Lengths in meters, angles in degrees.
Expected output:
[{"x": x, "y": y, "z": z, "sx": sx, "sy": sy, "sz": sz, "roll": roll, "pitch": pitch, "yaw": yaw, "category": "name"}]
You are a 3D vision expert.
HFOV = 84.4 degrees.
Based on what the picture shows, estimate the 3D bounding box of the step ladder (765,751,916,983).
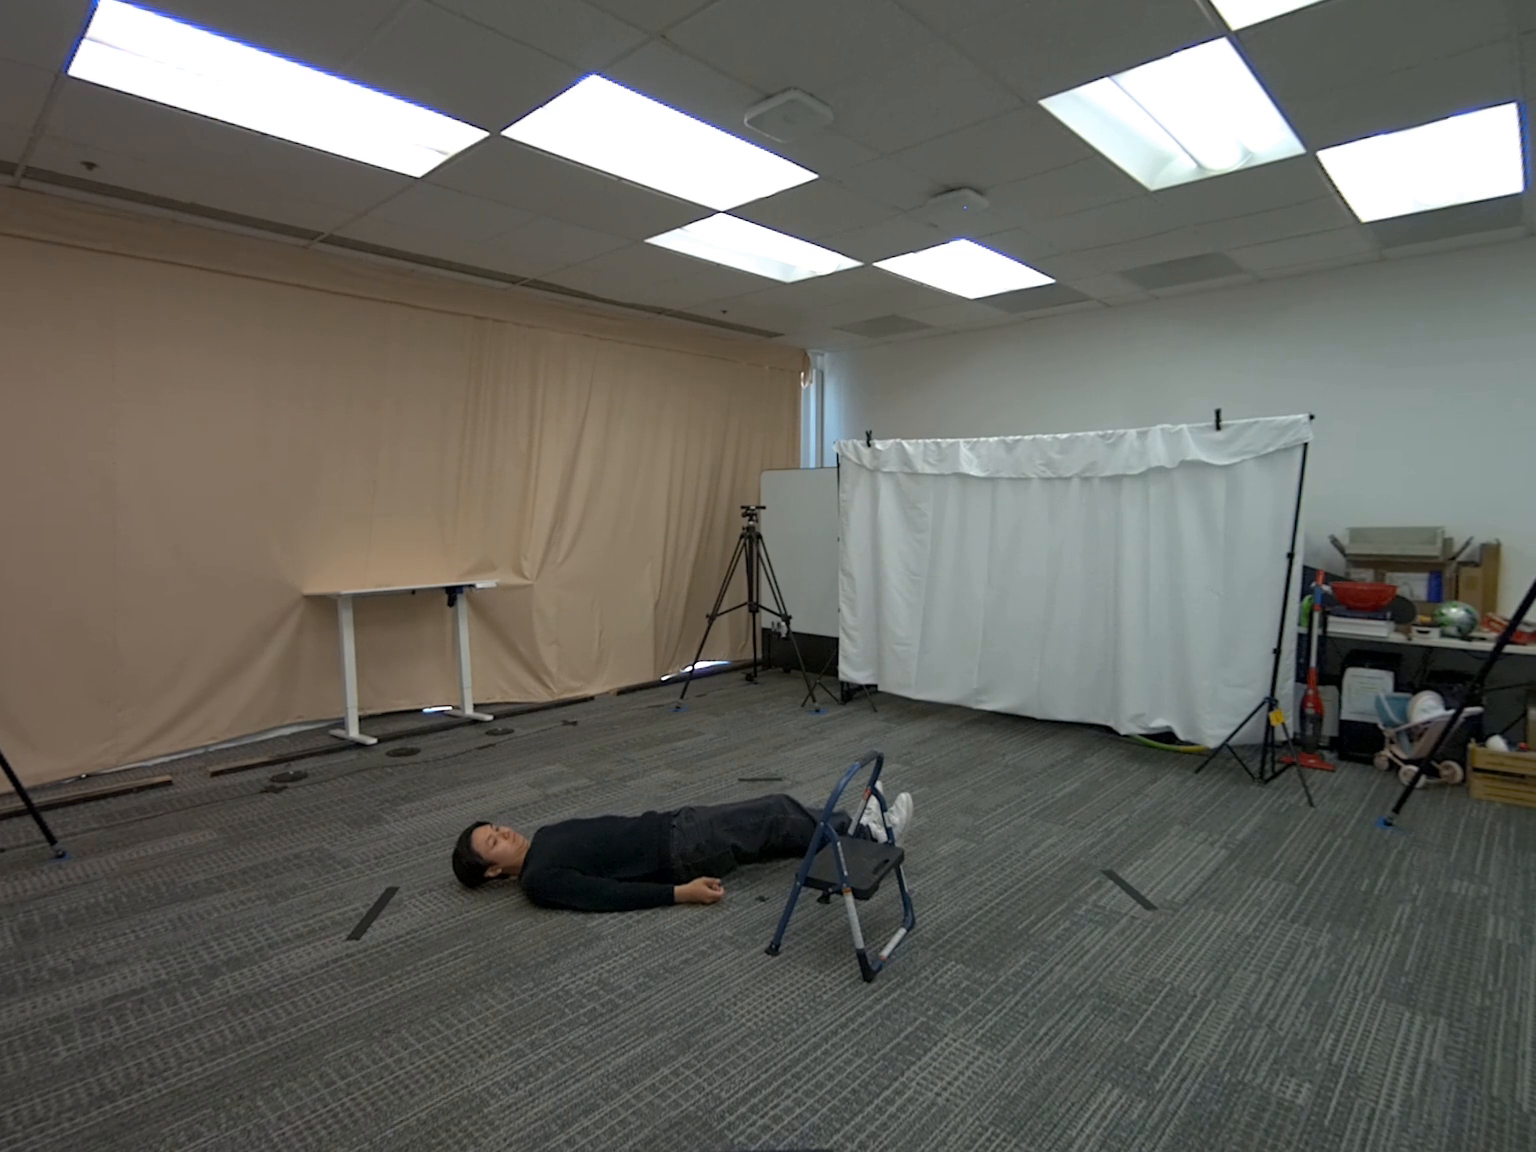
[{"x": 0.247, "y": 0.863, "z": 2.694, "sx": 0.359, "sy": 0.605, "sz": 0.419, "roll": 1, "pitch": 4, "yaw": 29, "category": "step ladder"}]
